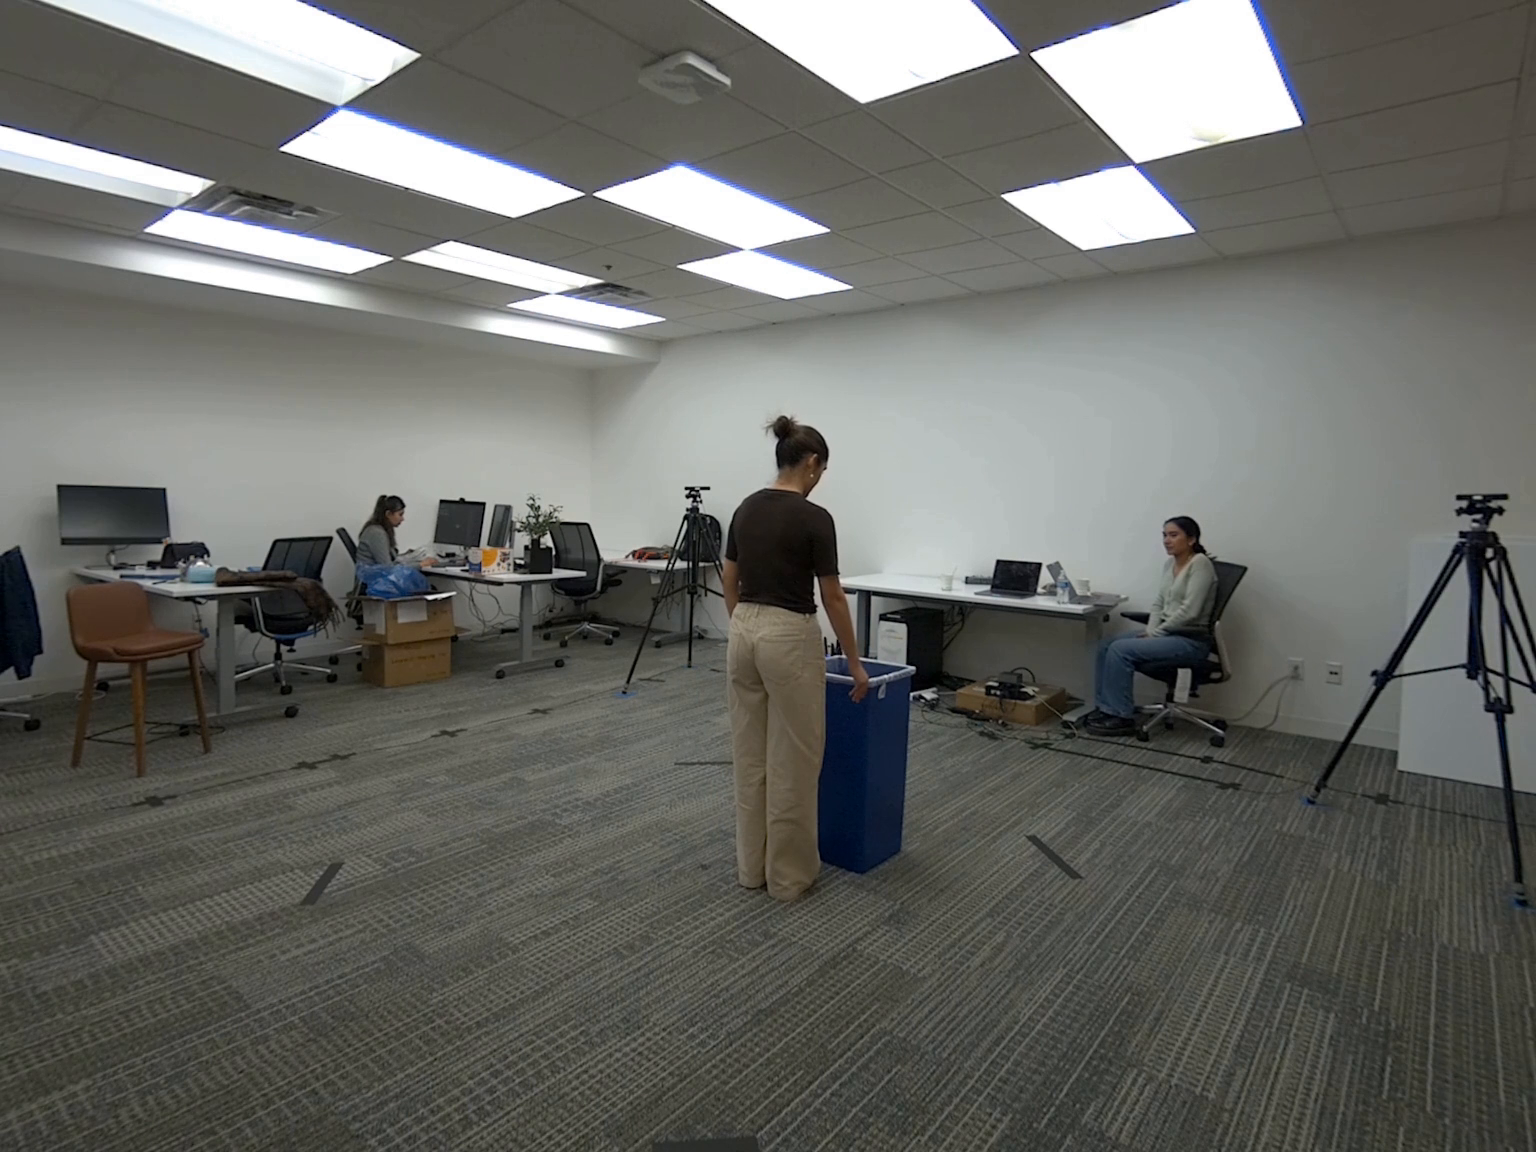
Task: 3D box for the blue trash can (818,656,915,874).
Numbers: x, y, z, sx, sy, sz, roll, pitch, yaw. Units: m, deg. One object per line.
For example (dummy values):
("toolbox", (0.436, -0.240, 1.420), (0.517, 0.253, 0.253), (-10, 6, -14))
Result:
("blue trash can", (0.314, 0.700, 3.277), (0.390, 0.712, 0.363), (3, 4, 38))
